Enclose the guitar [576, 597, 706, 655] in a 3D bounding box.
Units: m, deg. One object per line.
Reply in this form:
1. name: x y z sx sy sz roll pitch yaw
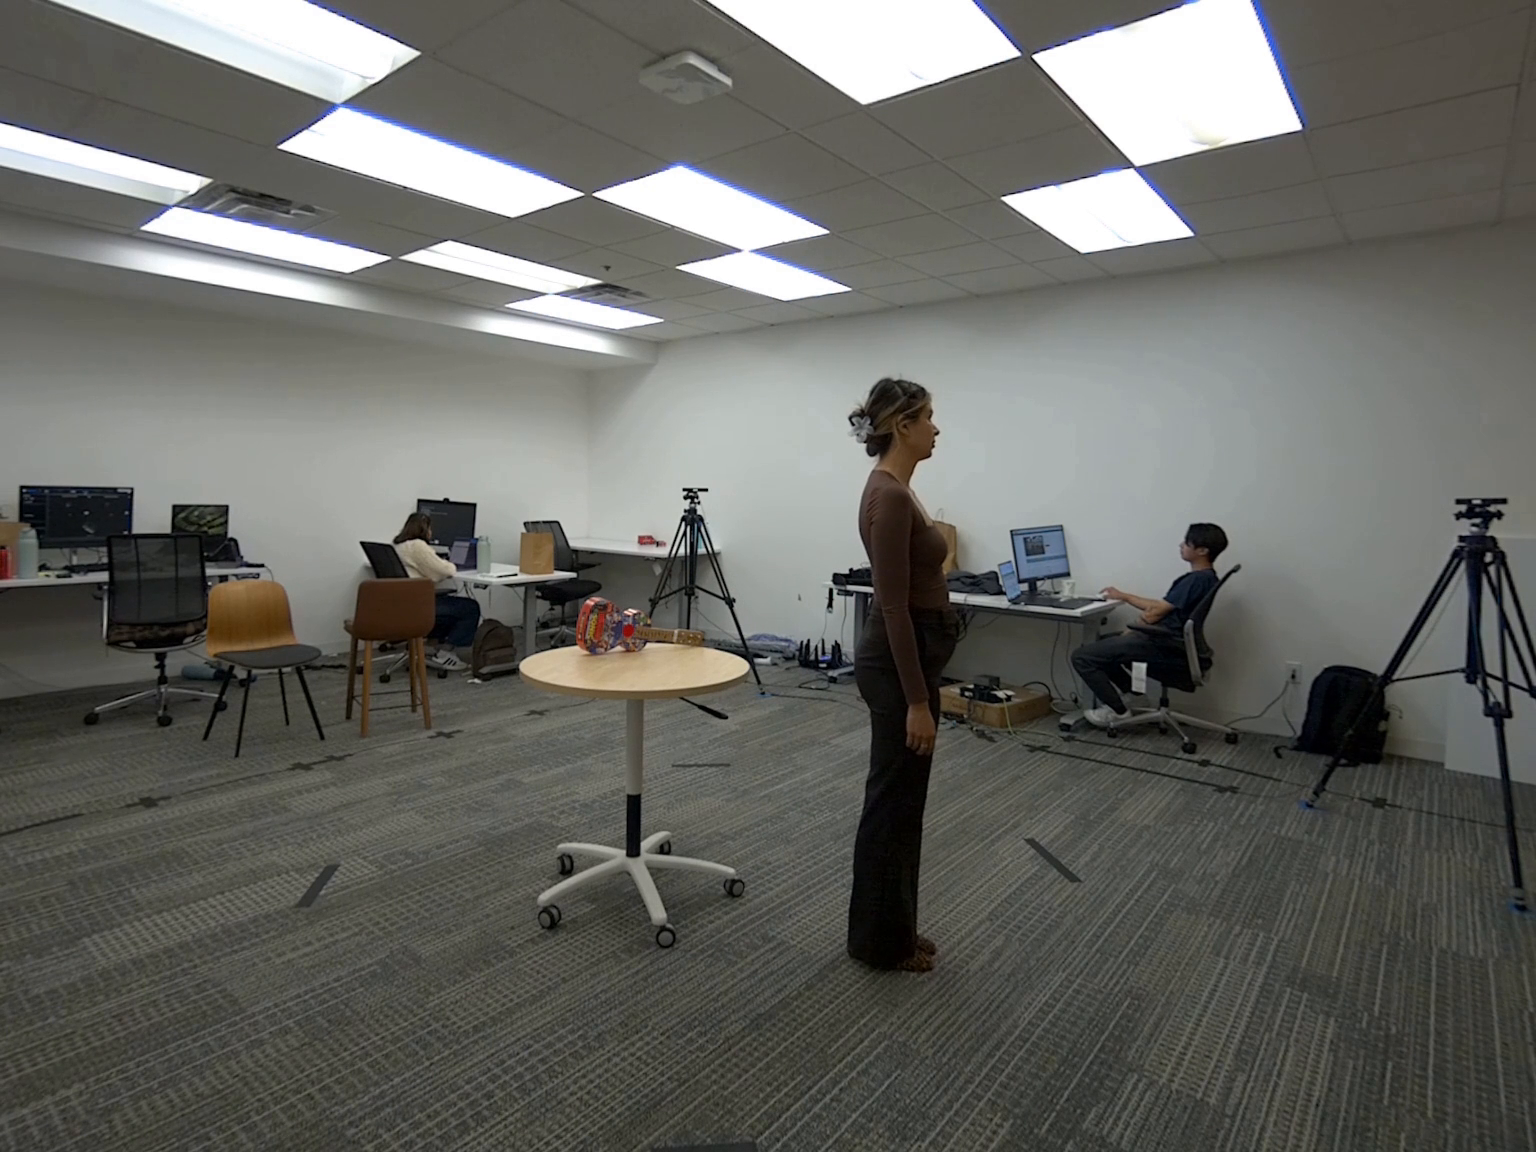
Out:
1. guitar: -0.477 0.229 3.093 0.480 0.194 0.073 21 -7 -33
